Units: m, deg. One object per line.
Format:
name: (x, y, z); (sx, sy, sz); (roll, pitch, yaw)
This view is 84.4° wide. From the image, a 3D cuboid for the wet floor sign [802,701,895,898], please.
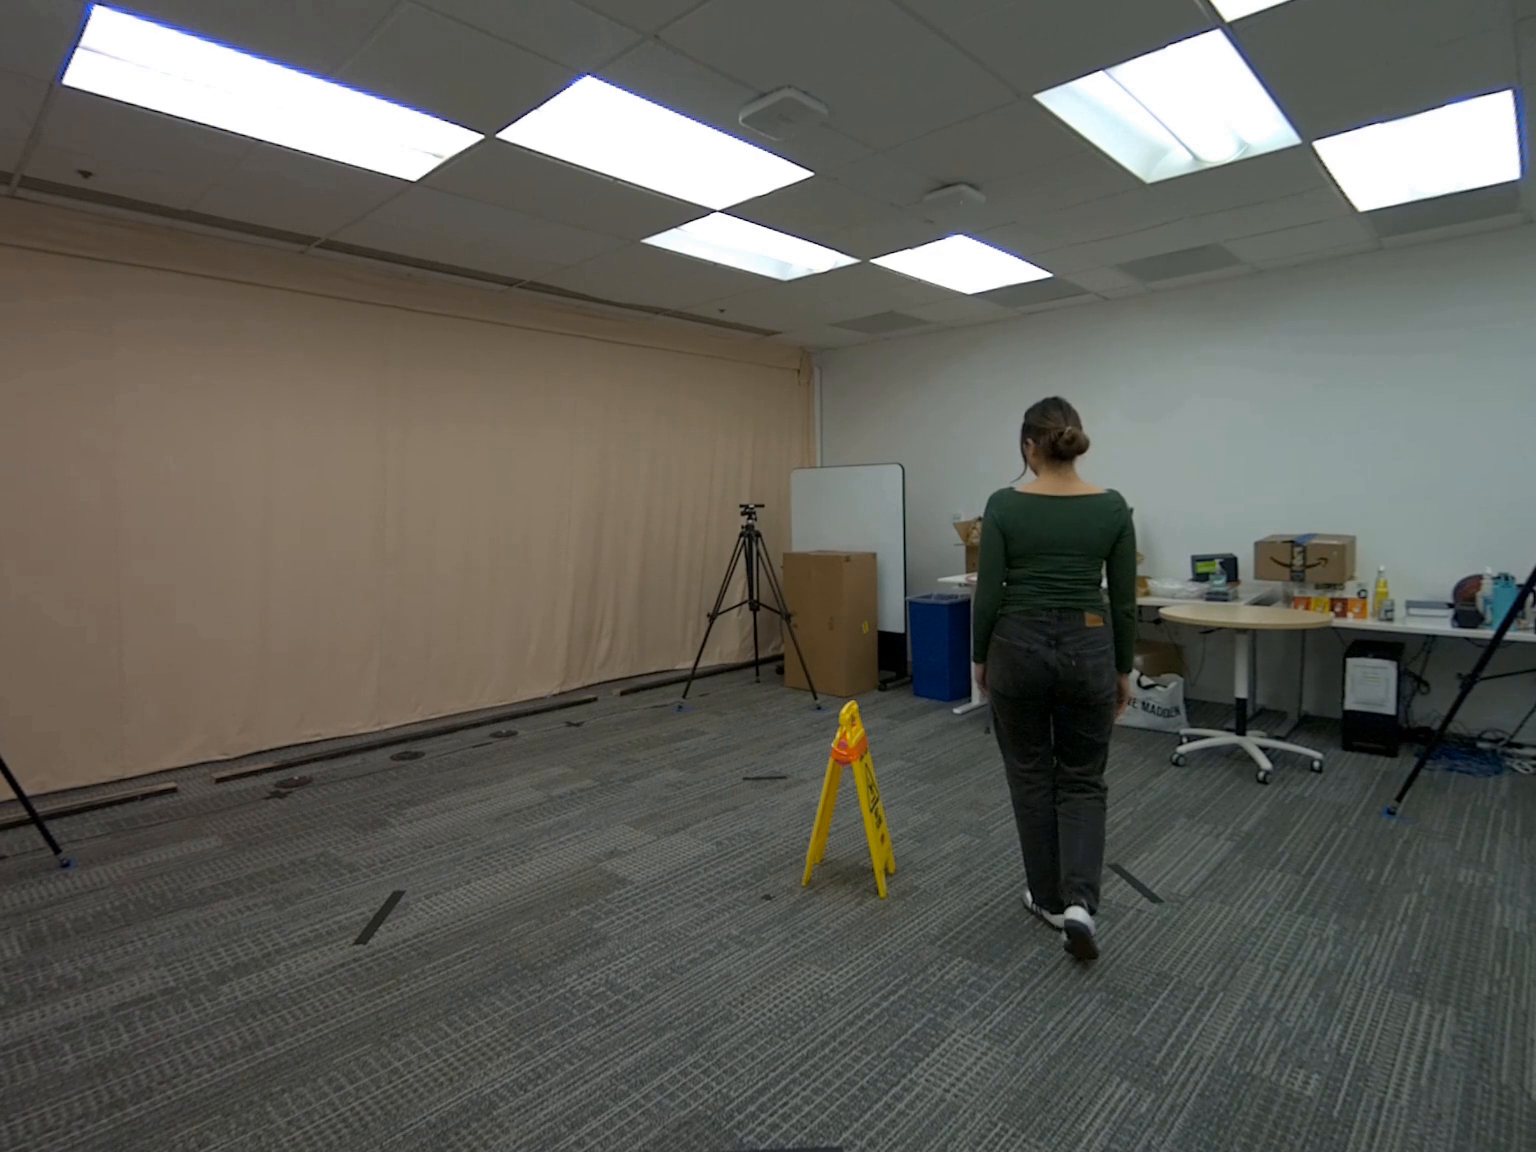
wet floor sign: (0.301, 0.797, 3.114); (0.296, 0.645, 0.277); (0, 3, 19)
